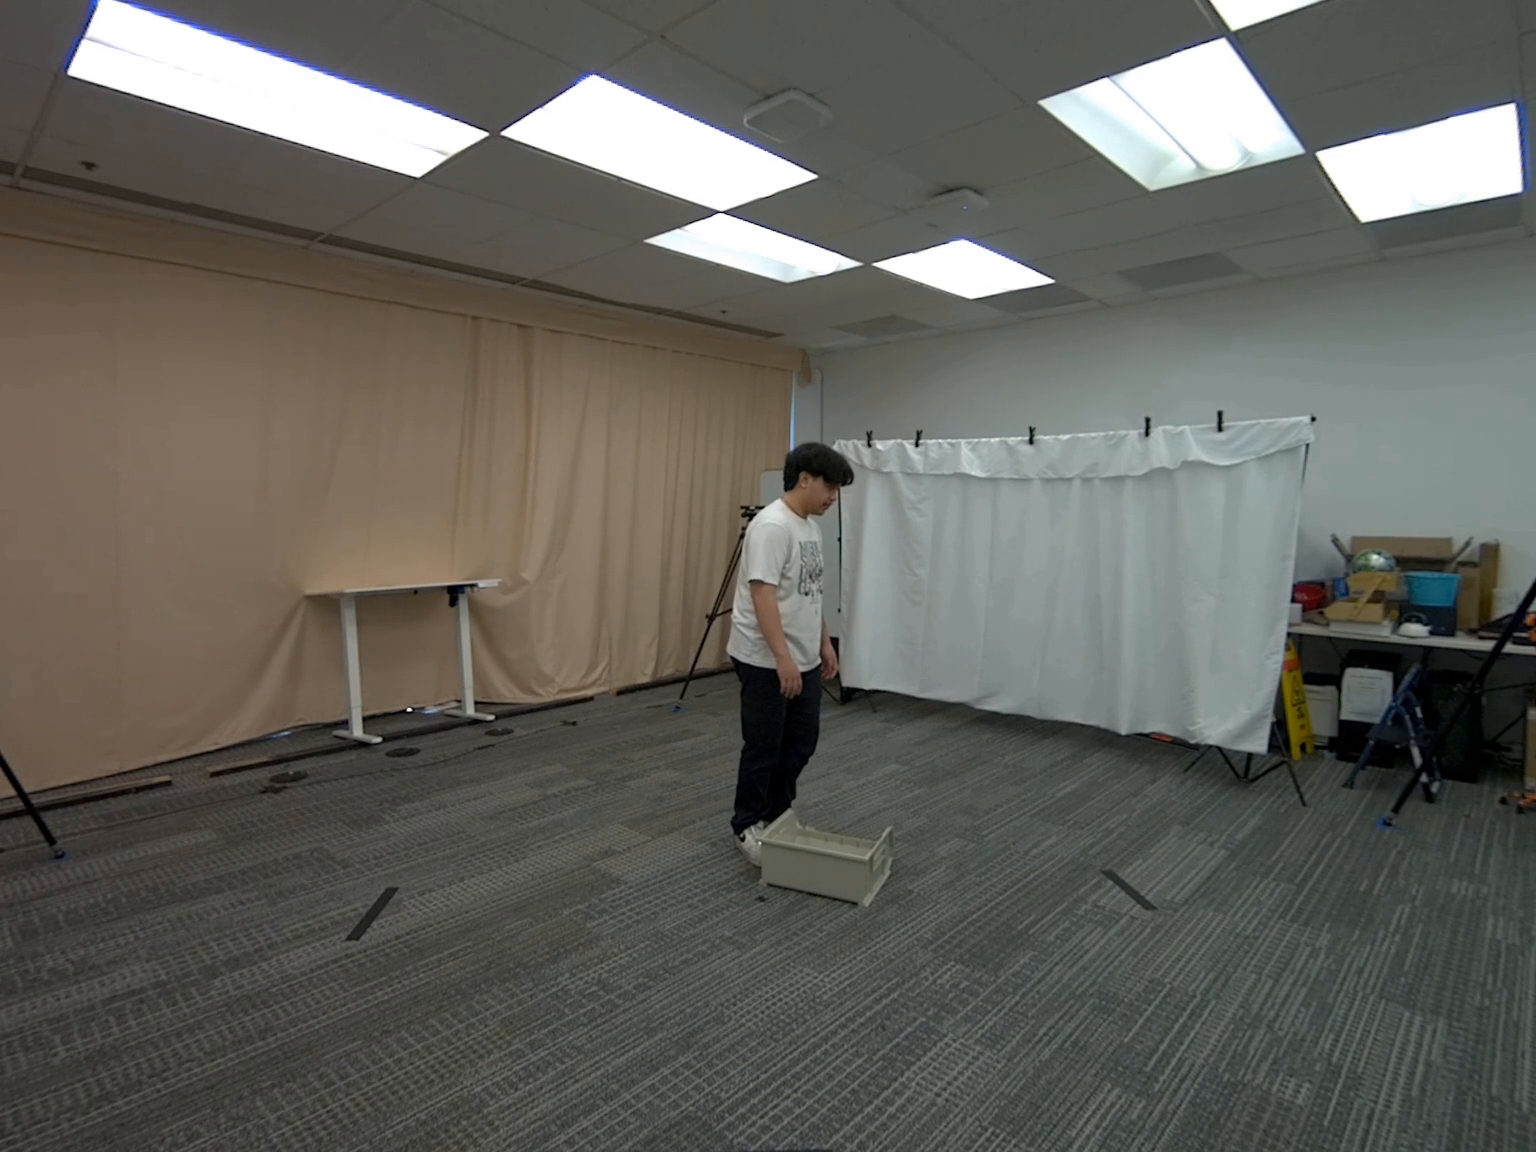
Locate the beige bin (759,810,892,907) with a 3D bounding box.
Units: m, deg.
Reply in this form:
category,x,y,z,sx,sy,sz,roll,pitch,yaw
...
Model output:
category,x,y,z,sx,sy,sz,roll,pitch,yaw
beige bin,0.227,1.038,3.156,0.433,0.188,0.369,2,6,25
